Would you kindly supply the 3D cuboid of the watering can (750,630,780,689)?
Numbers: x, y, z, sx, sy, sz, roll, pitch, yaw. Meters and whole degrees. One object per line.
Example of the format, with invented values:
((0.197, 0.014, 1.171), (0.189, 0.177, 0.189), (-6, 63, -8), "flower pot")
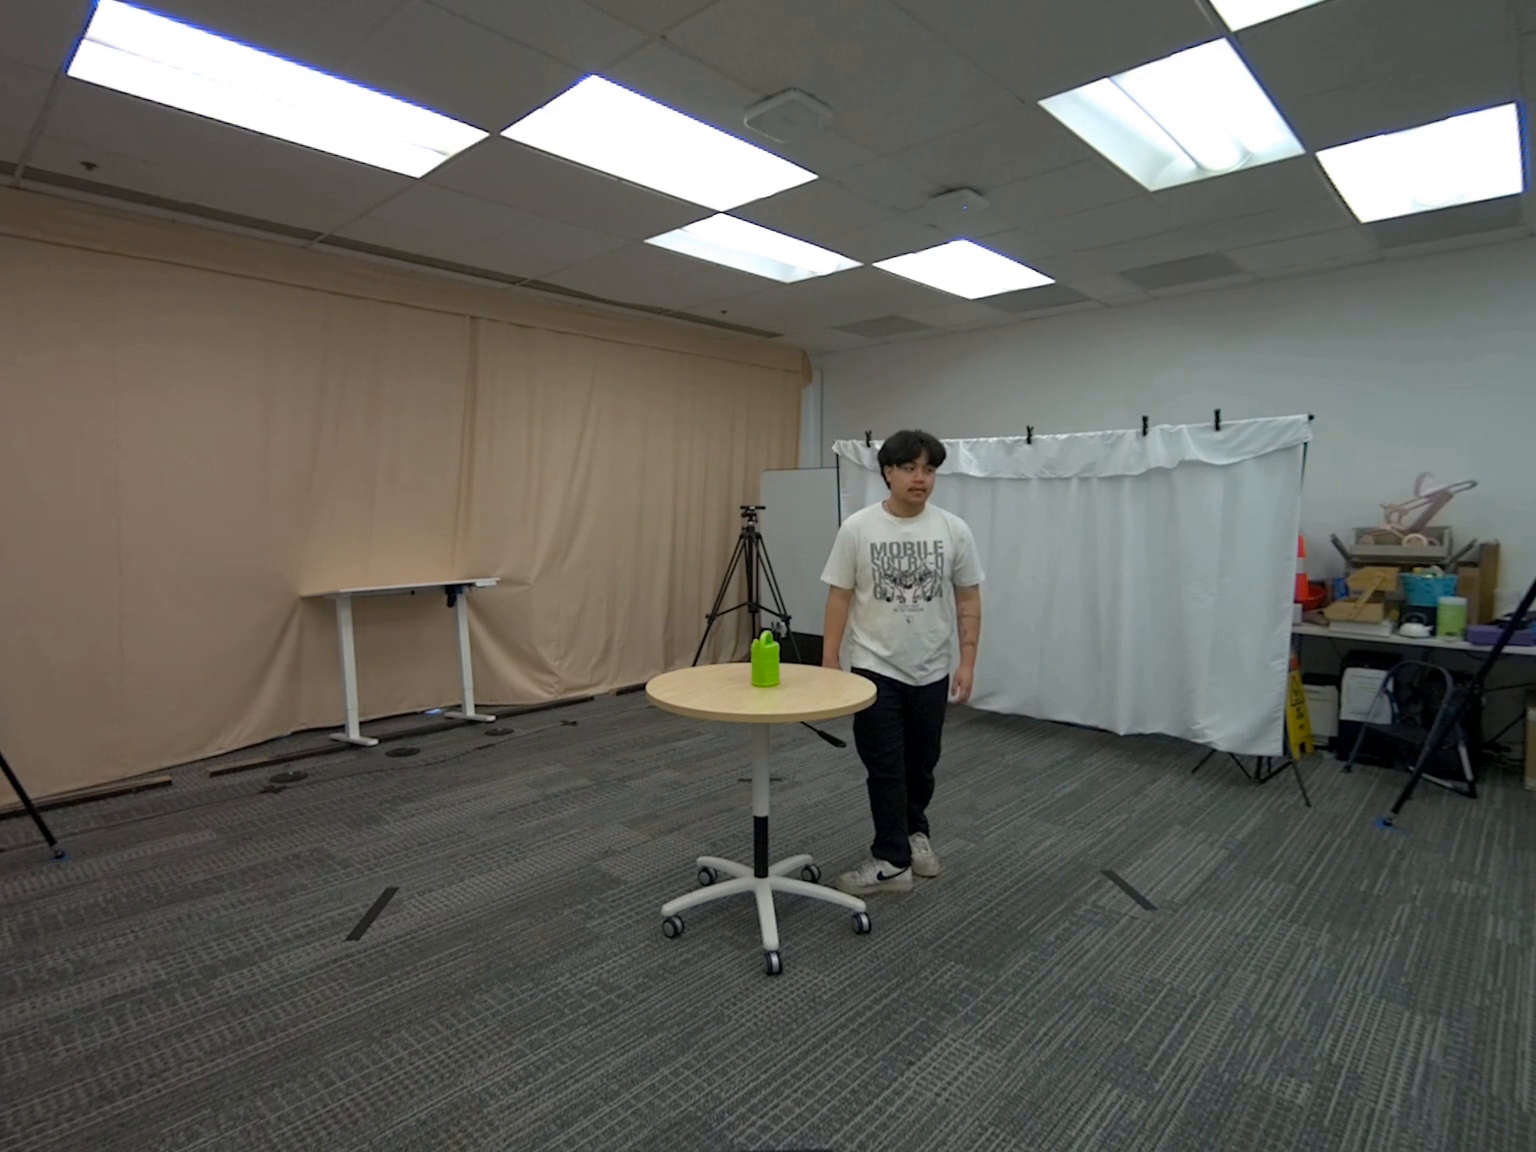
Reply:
((-0.026, 0.283, 2.799), (0.101, 0.176, 0.271), (2, 3, 27), "watering can")
